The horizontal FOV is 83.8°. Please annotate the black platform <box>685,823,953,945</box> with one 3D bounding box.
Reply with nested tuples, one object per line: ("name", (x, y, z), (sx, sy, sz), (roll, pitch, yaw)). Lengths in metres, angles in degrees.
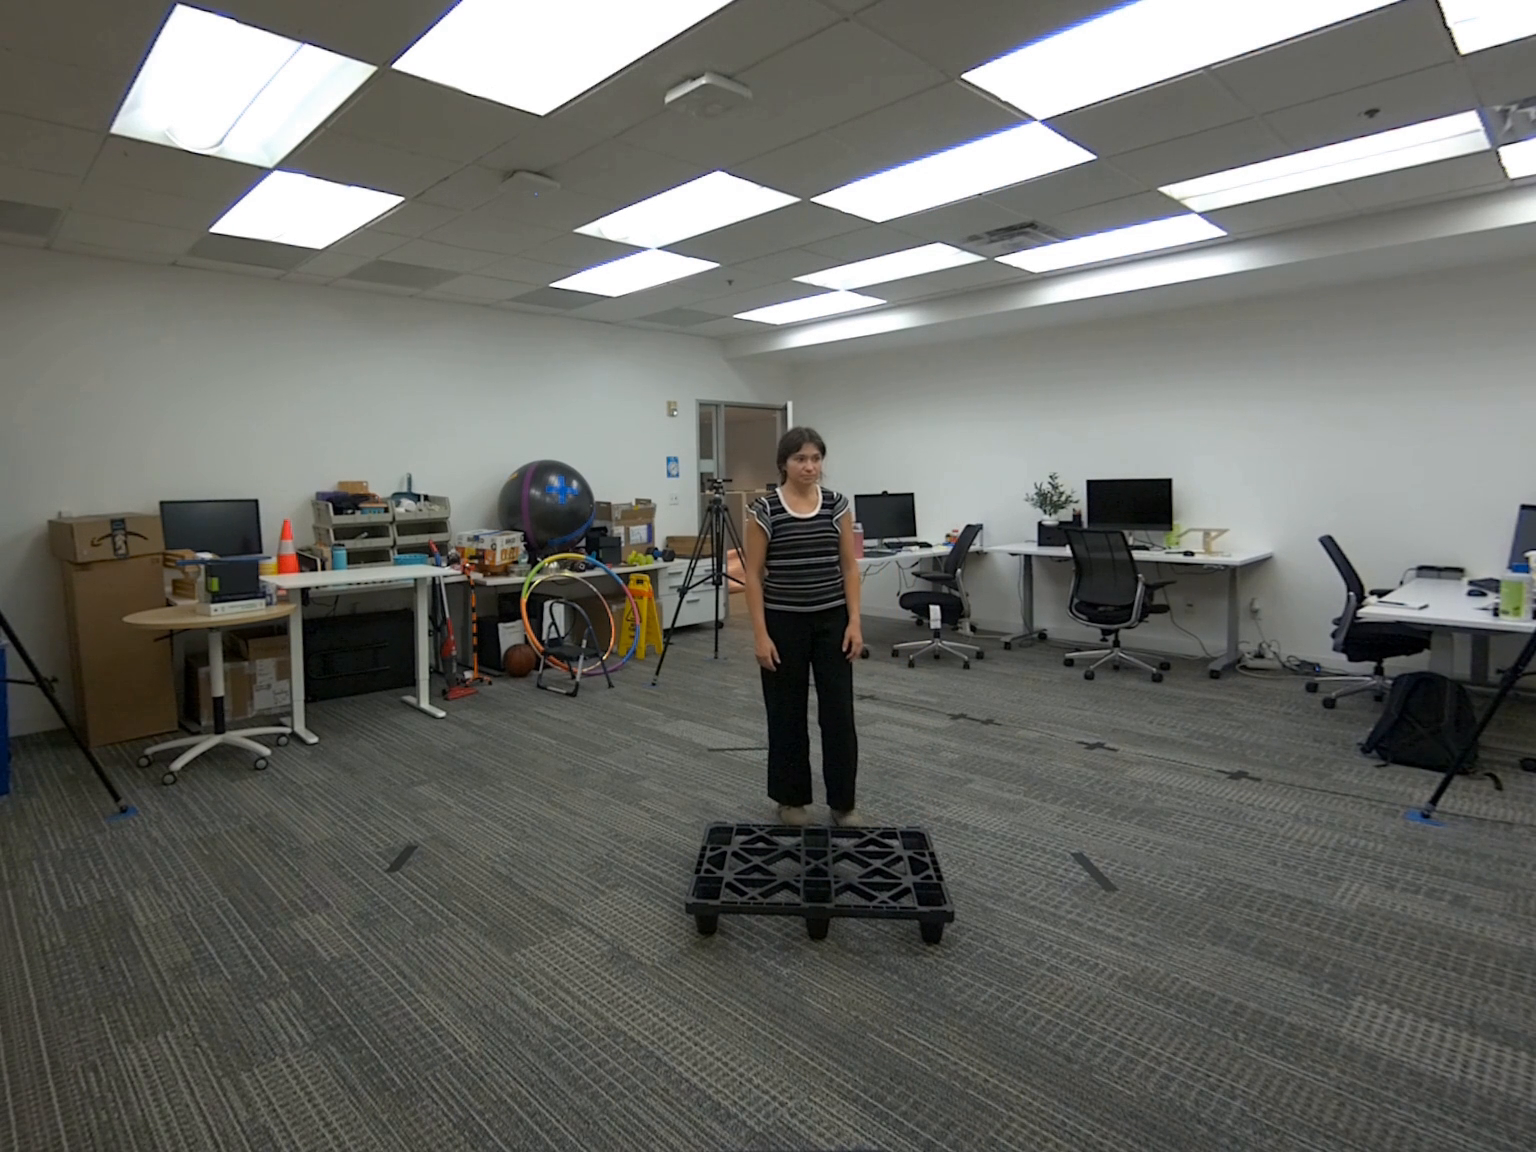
("black platform", (0.160, 1.005, 2.821), (0.810, 0.143, 0.604), (0, 6, 5))
